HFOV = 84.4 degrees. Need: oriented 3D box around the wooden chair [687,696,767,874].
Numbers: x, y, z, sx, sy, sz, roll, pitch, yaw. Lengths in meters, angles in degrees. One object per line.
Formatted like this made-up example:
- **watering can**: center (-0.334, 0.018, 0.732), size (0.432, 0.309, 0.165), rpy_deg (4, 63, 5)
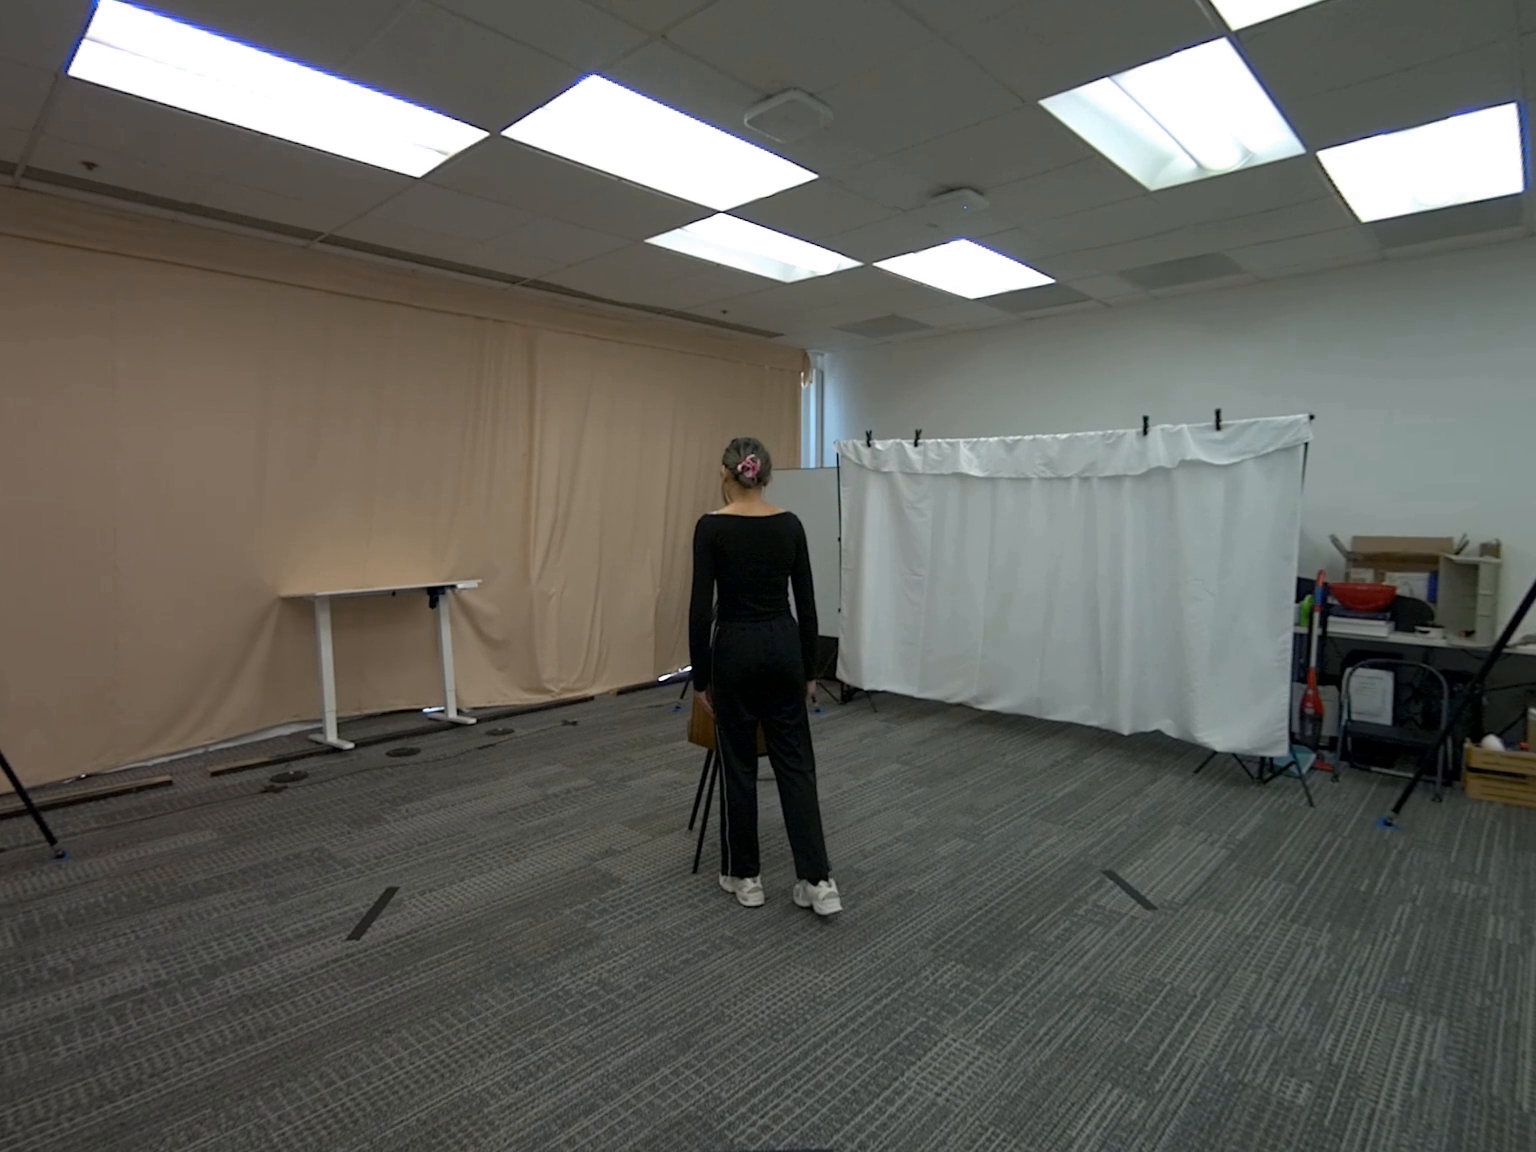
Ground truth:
- **wooden chair**: center (-0.099, 0.682, 3.404), size (0.476, 0.873, 0.528), rpy_deg (-1, 7, -6)
